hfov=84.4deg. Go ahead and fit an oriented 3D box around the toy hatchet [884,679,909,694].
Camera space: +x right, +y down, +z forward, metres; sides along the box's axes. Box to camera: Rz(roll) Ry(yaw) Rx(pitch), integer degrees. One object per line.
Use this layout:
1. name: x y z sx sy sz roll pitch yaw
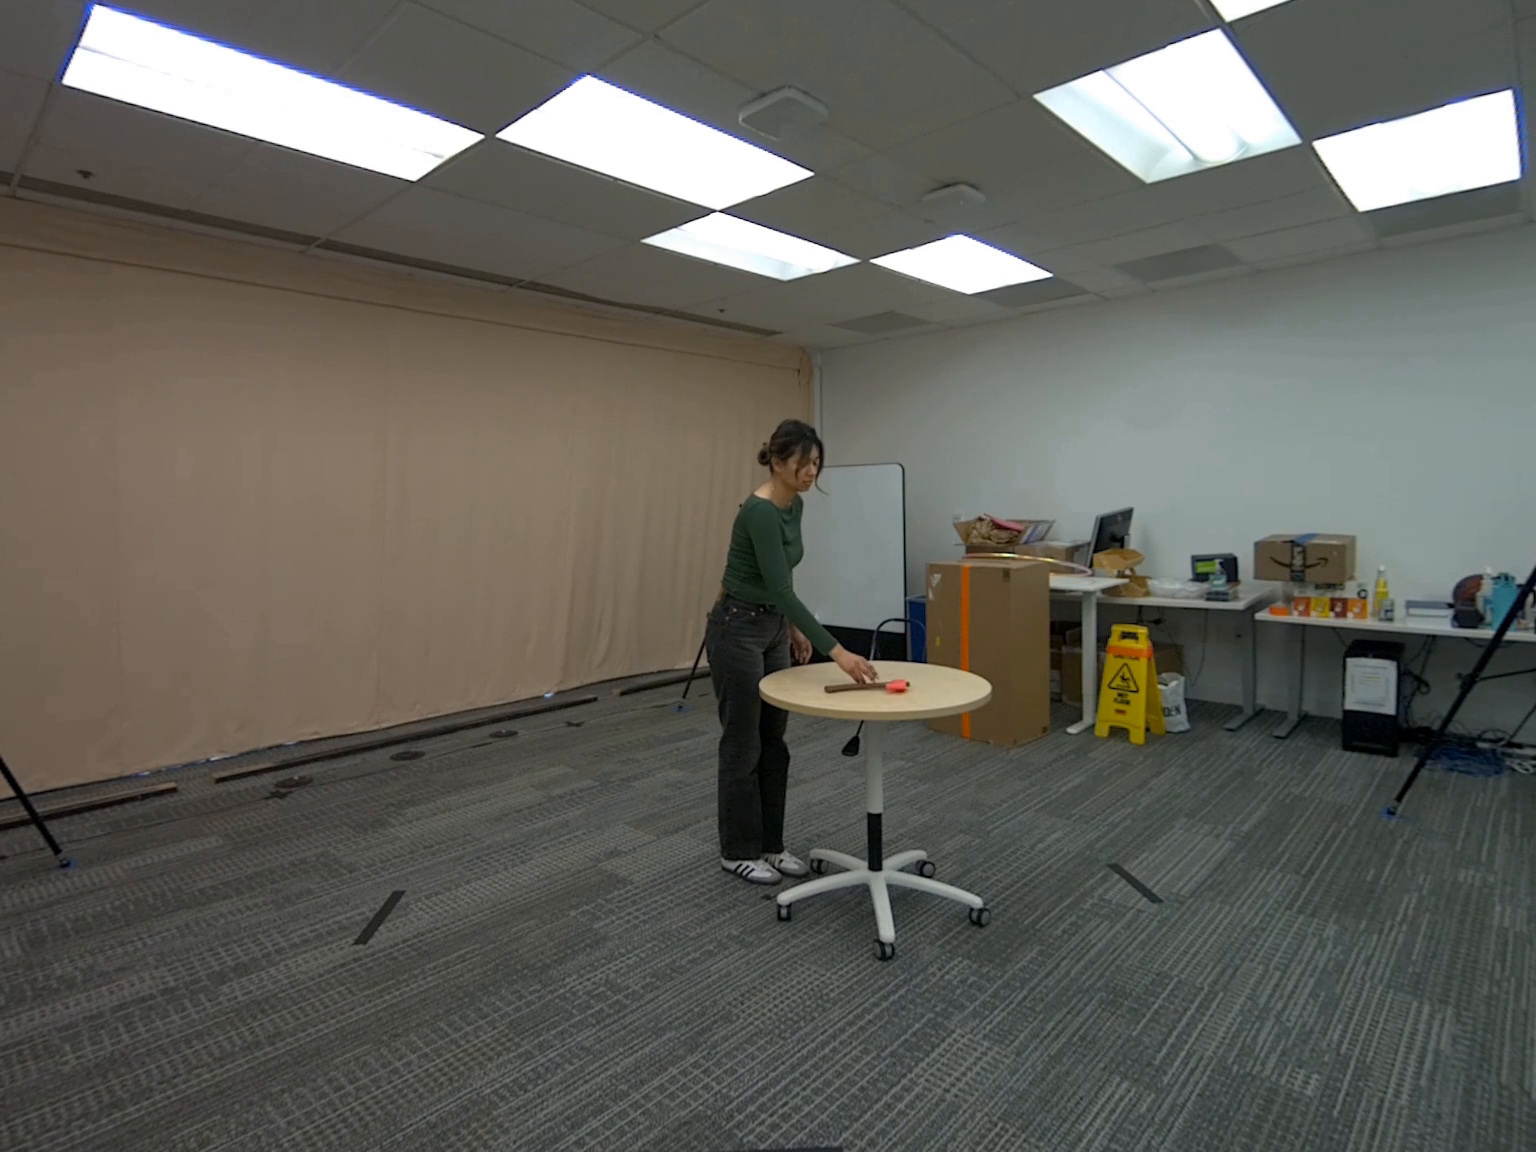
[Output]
1. toy hatchet: 0.340 0.358 2.711 0.267 0.029 0.133 -3 3 -12
